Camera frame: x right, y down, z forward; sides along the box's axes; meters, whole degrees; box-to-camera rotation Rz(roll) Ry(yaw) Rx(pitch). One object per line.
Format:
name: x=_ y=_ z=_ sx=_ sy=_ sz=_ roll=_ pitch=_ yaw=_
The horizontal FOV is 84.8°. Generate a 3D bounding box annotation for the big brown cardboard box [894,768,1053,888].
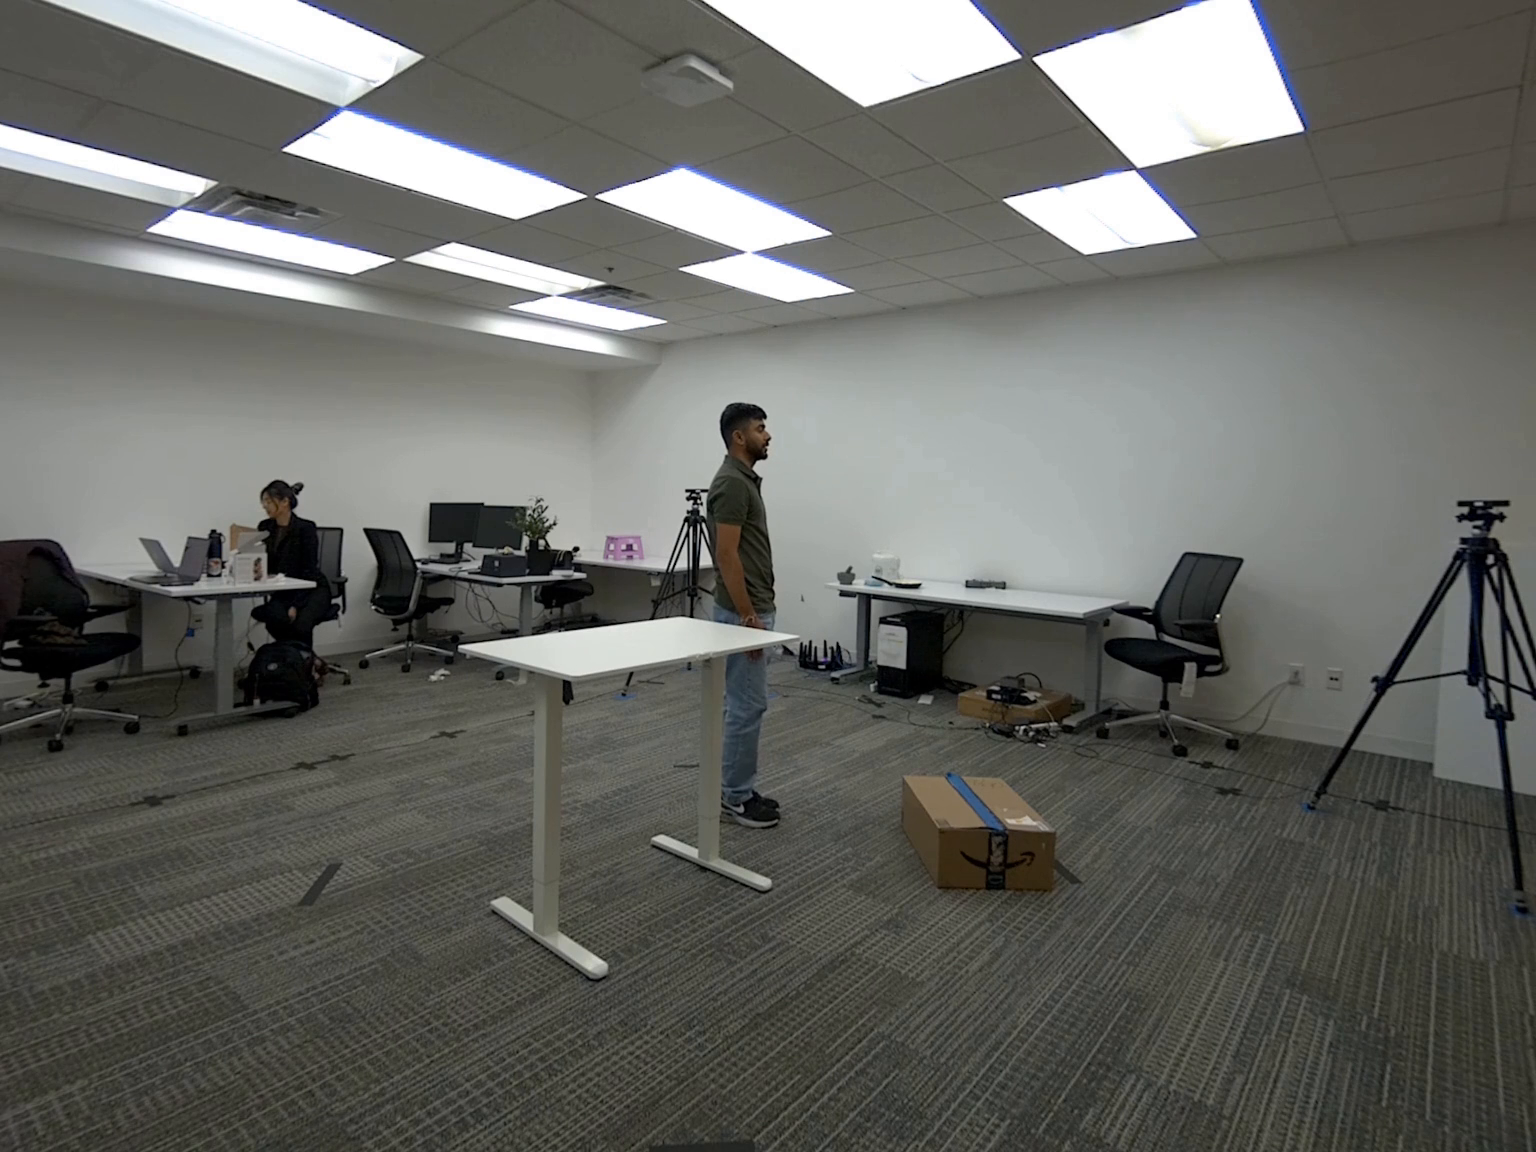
big brown cardboard box: x=0.773 y=0.961 z=3.276 sx=0.416 sy=0.232 sz=0.592 roll=1 pitch=4 yaw=-4
